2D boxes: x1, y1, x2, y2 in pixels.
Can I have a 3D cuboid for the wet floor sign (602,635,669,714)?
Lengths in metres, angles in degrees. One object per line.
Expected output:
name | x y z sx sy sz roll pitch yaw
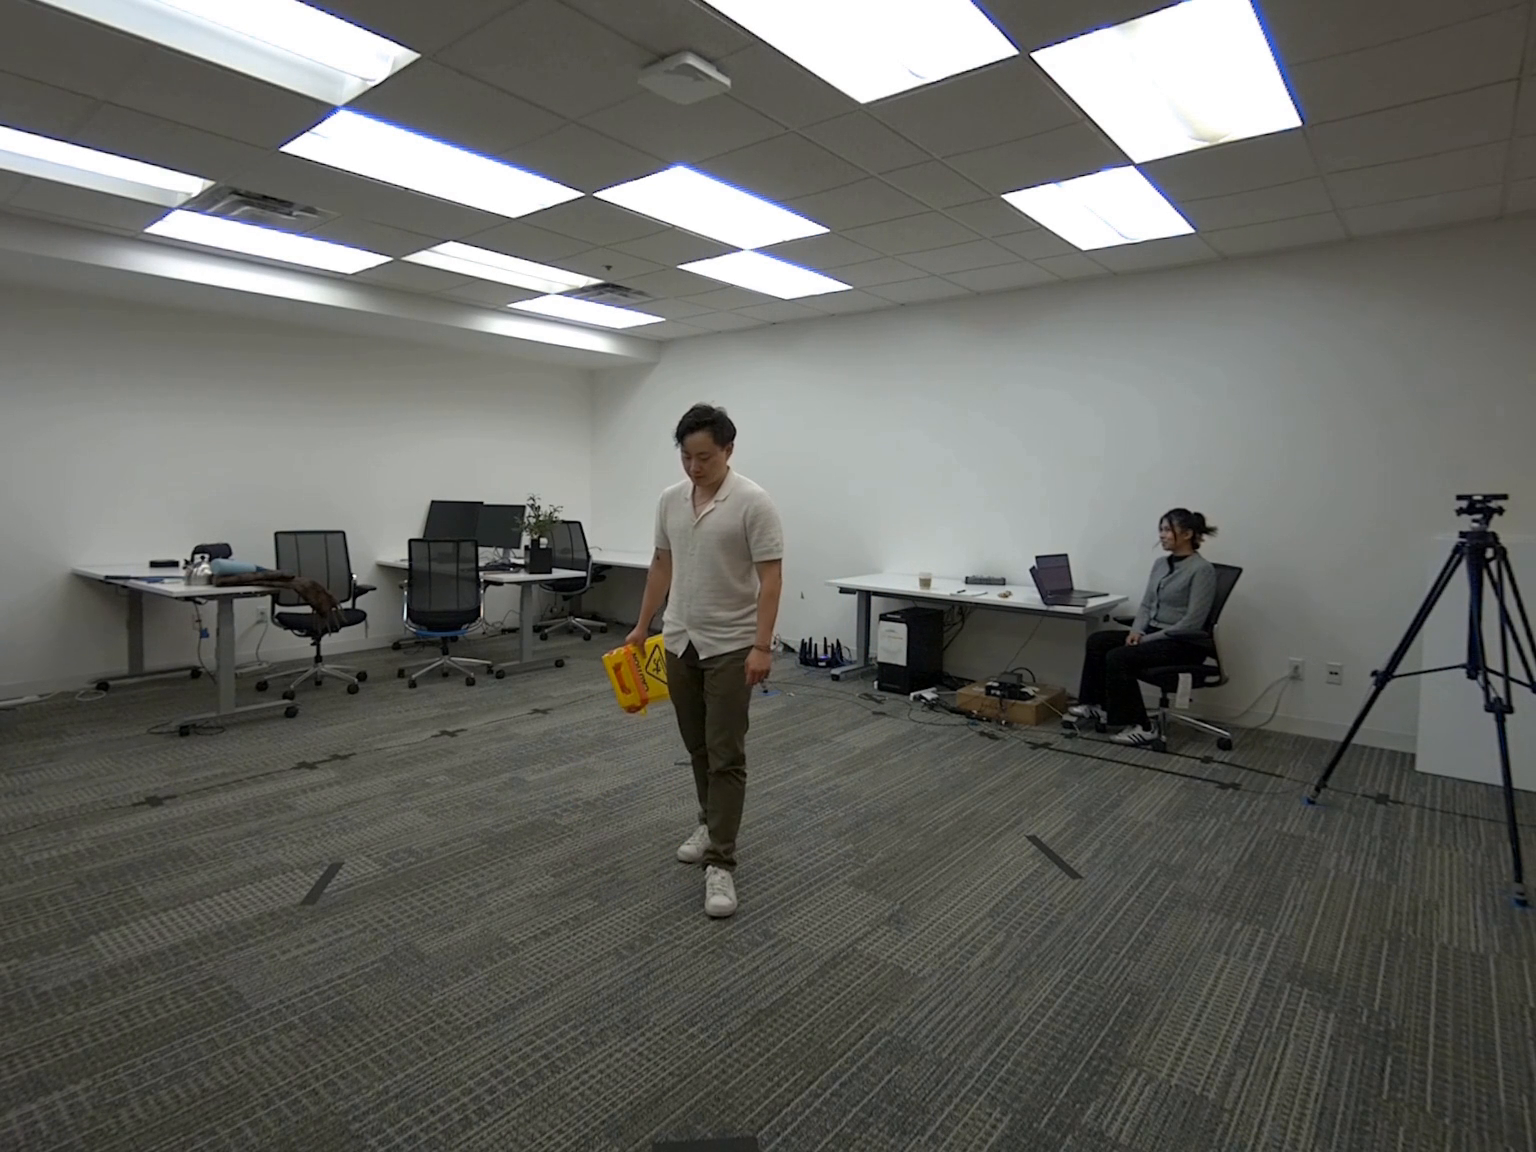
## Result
wet floor sign | -0.503 0.389 3.327 0.291 0.286 0.635 -24 -7 9
